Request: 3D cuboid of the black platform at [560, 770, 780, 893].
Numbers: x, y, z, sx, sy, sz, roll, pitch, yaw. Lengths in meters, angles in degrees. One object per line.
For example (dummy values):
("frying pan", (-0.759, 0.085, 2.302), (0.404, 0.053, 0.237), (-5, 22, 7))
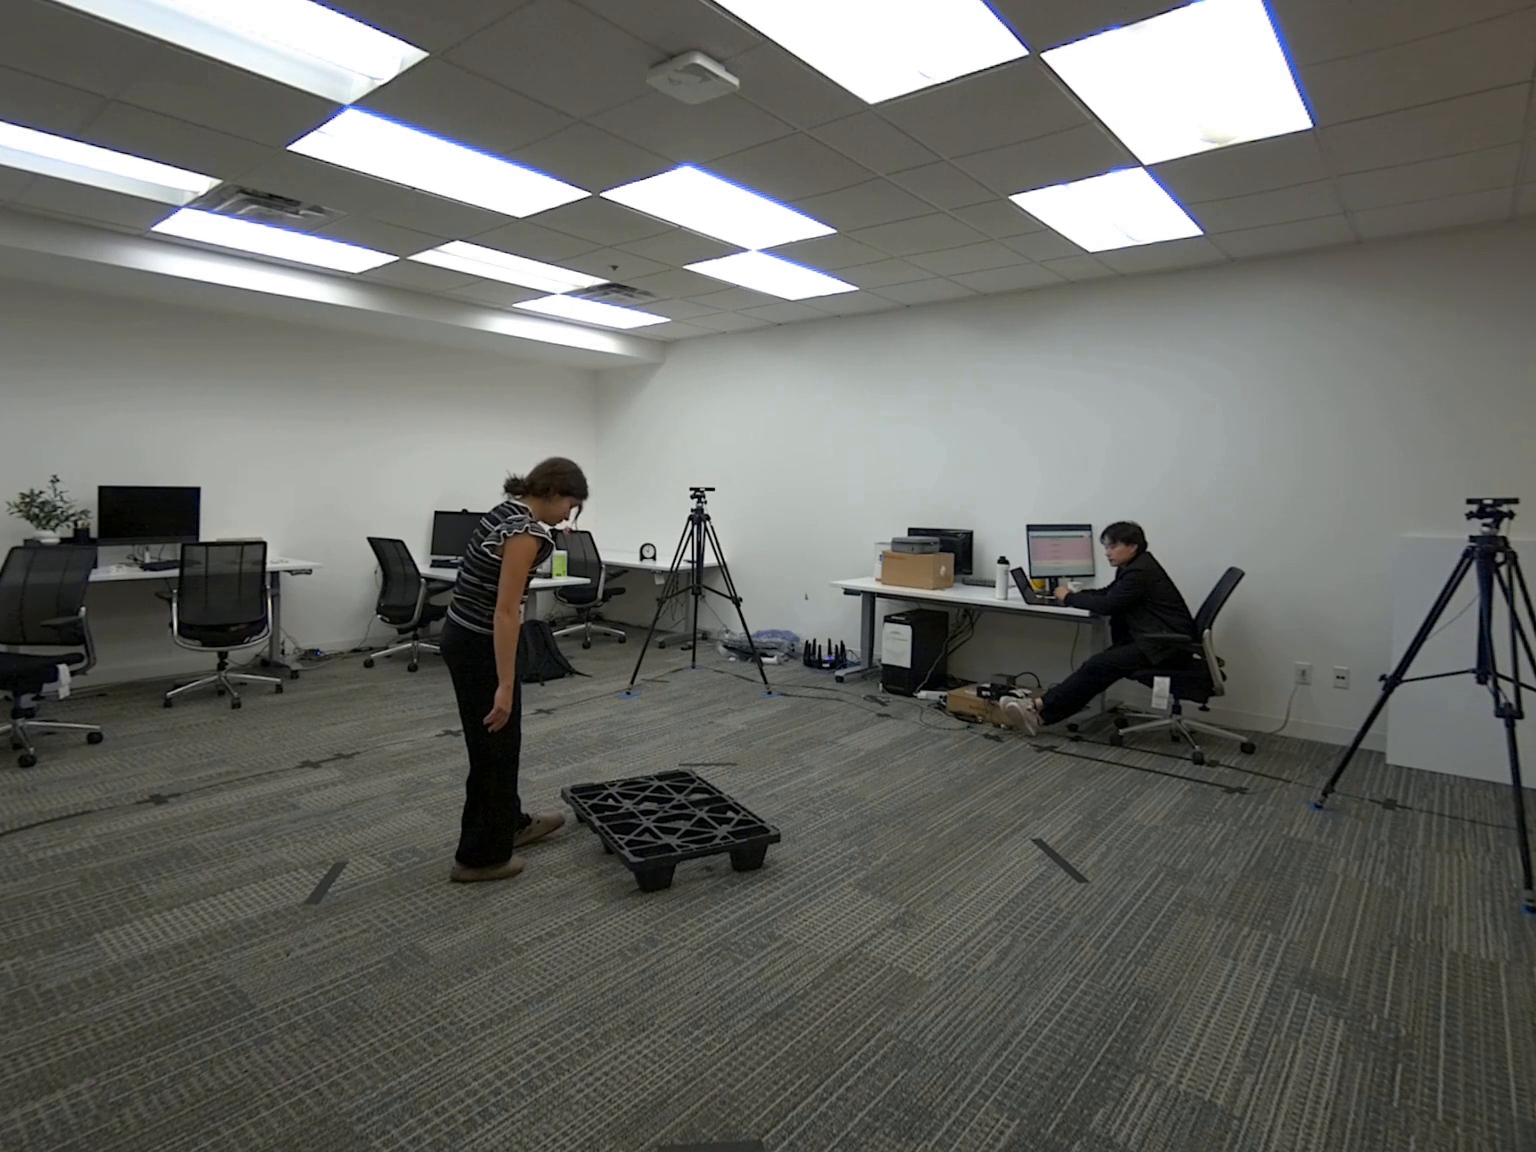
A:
("black platform", (-0.418, 0.974, 3.338), (0.589, 0.143, 0.830), (-2, 6, -30))
